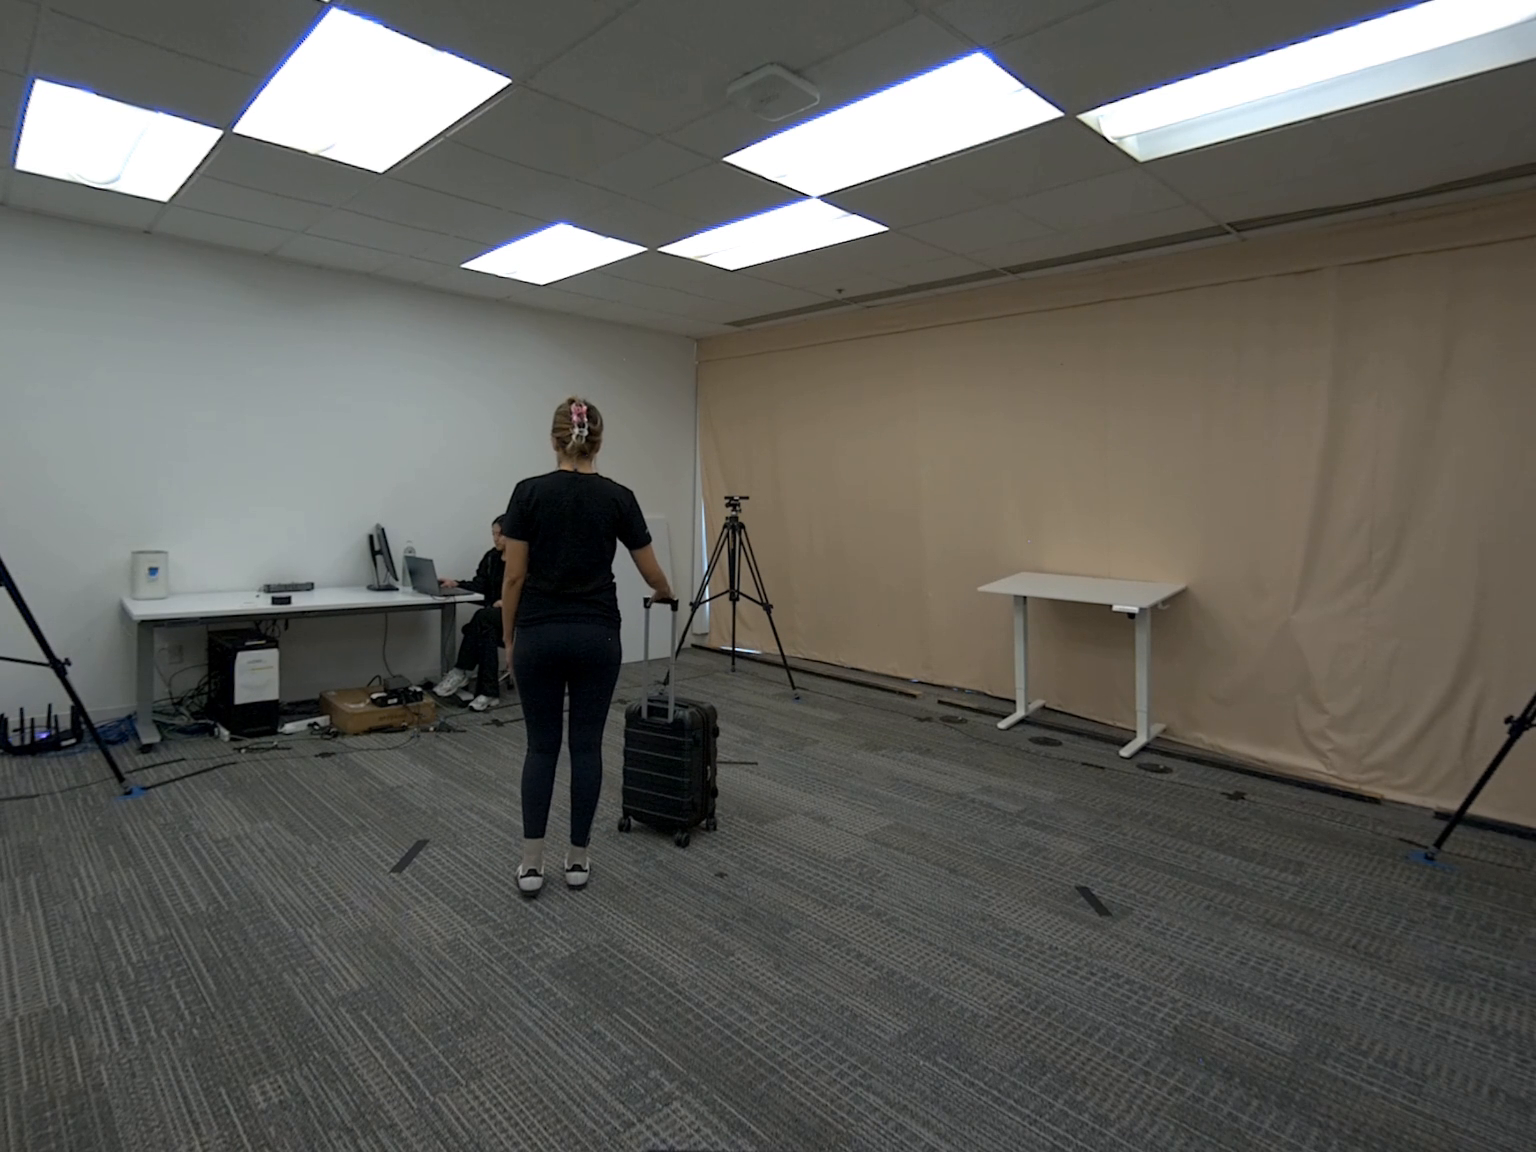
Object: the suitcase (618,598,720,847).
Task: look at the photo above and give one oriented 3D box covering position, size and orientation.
[{"bbox_3d":[-0.413,0.582,3.525,0.392,0.978,0.252,2,0,28],"label":"suitcase"}]
